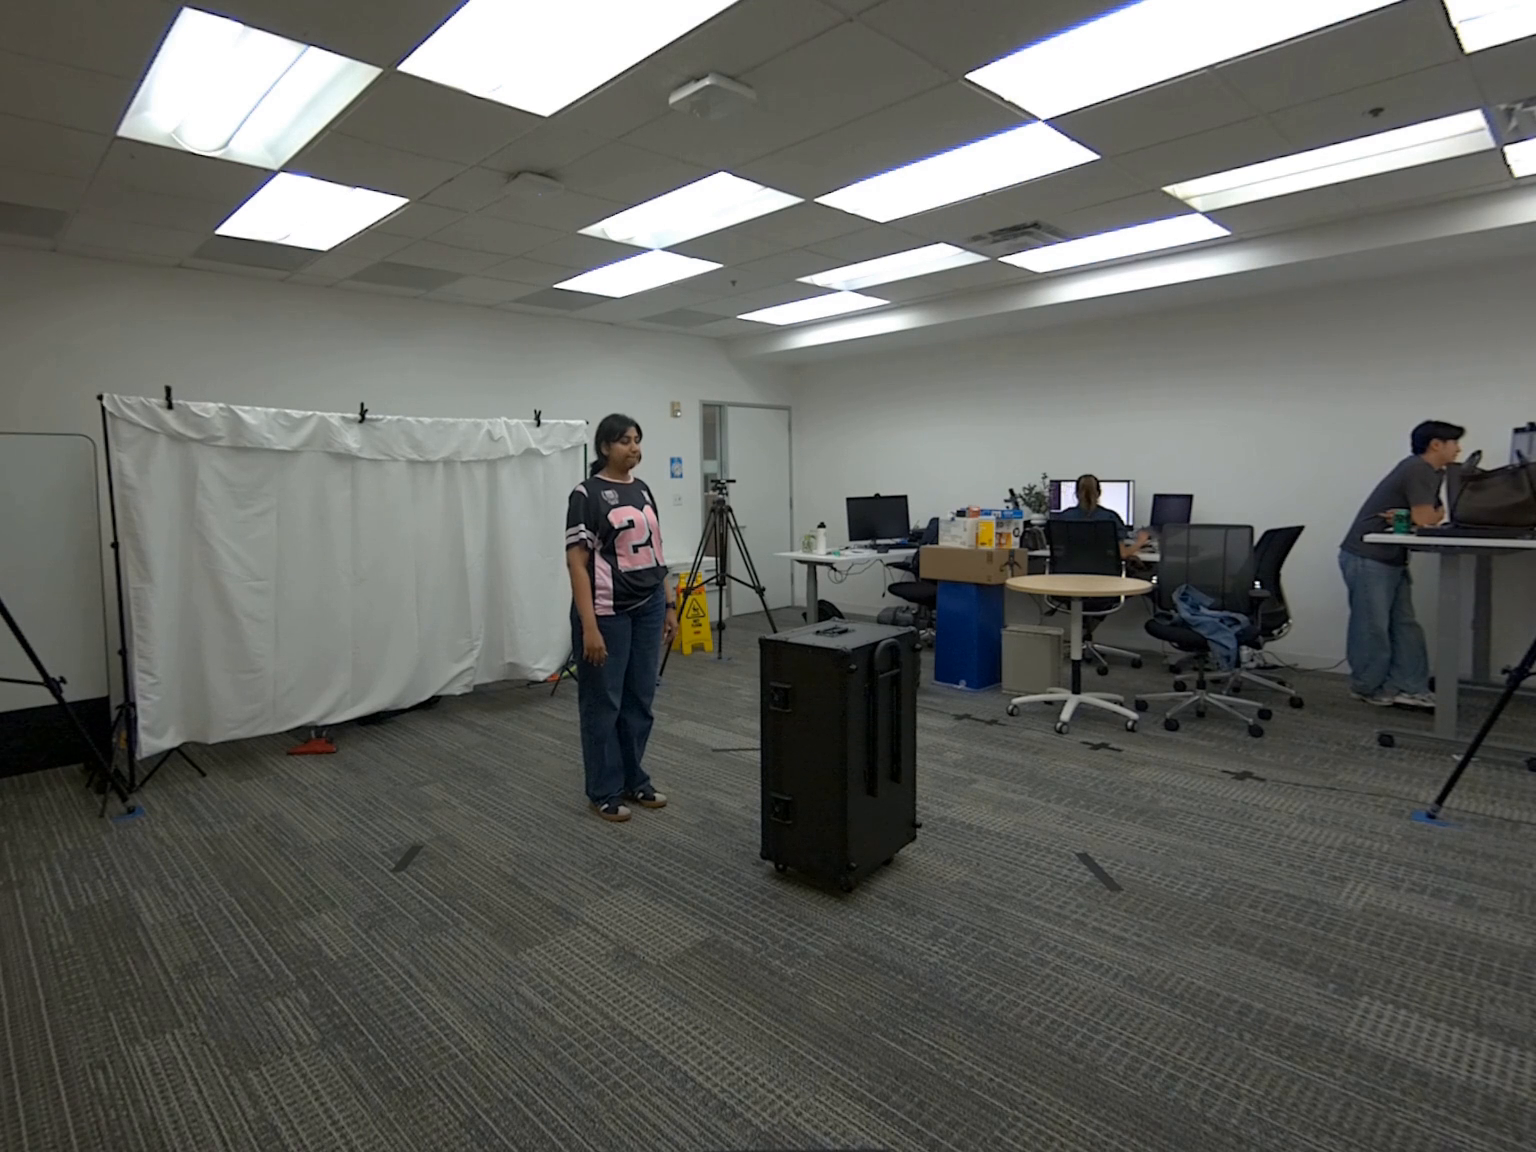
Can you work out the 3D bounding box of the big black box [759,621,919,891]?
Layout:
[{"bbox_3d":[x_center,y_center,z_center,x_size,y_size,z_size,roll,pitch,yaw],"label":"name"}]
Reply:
[{"bbox_3d":[0.269,0.627,3.041,0.397,0.865,0.510,3,6,38],"label":"big black box"}]
